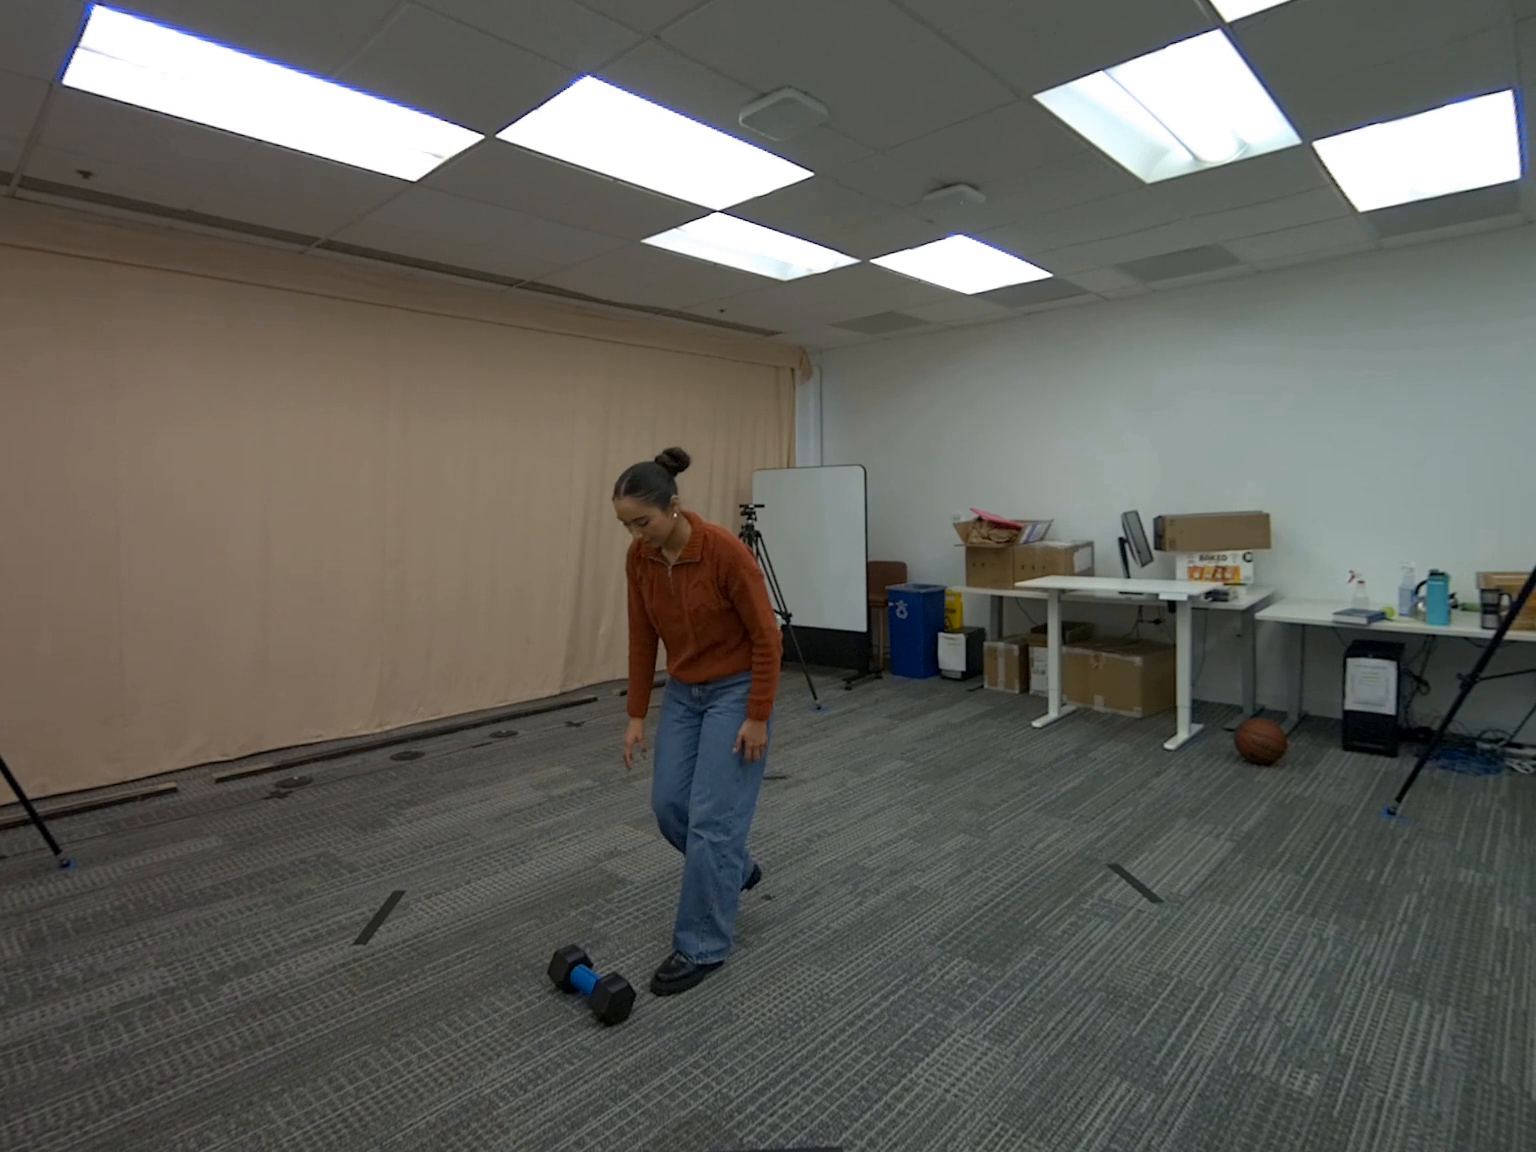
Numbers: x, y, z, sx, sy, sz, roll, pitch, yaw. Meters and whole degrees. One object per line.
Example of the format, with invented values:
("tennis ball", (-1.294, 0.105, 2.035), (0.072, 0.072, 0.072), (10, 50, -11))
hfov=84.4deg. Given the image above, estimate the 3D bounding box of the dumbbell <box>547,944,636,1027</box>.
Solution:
("dumbbell", (-0.500, 1.152, 2.367), (0.303, 0.123, 0.105), (4, -24, 46))
